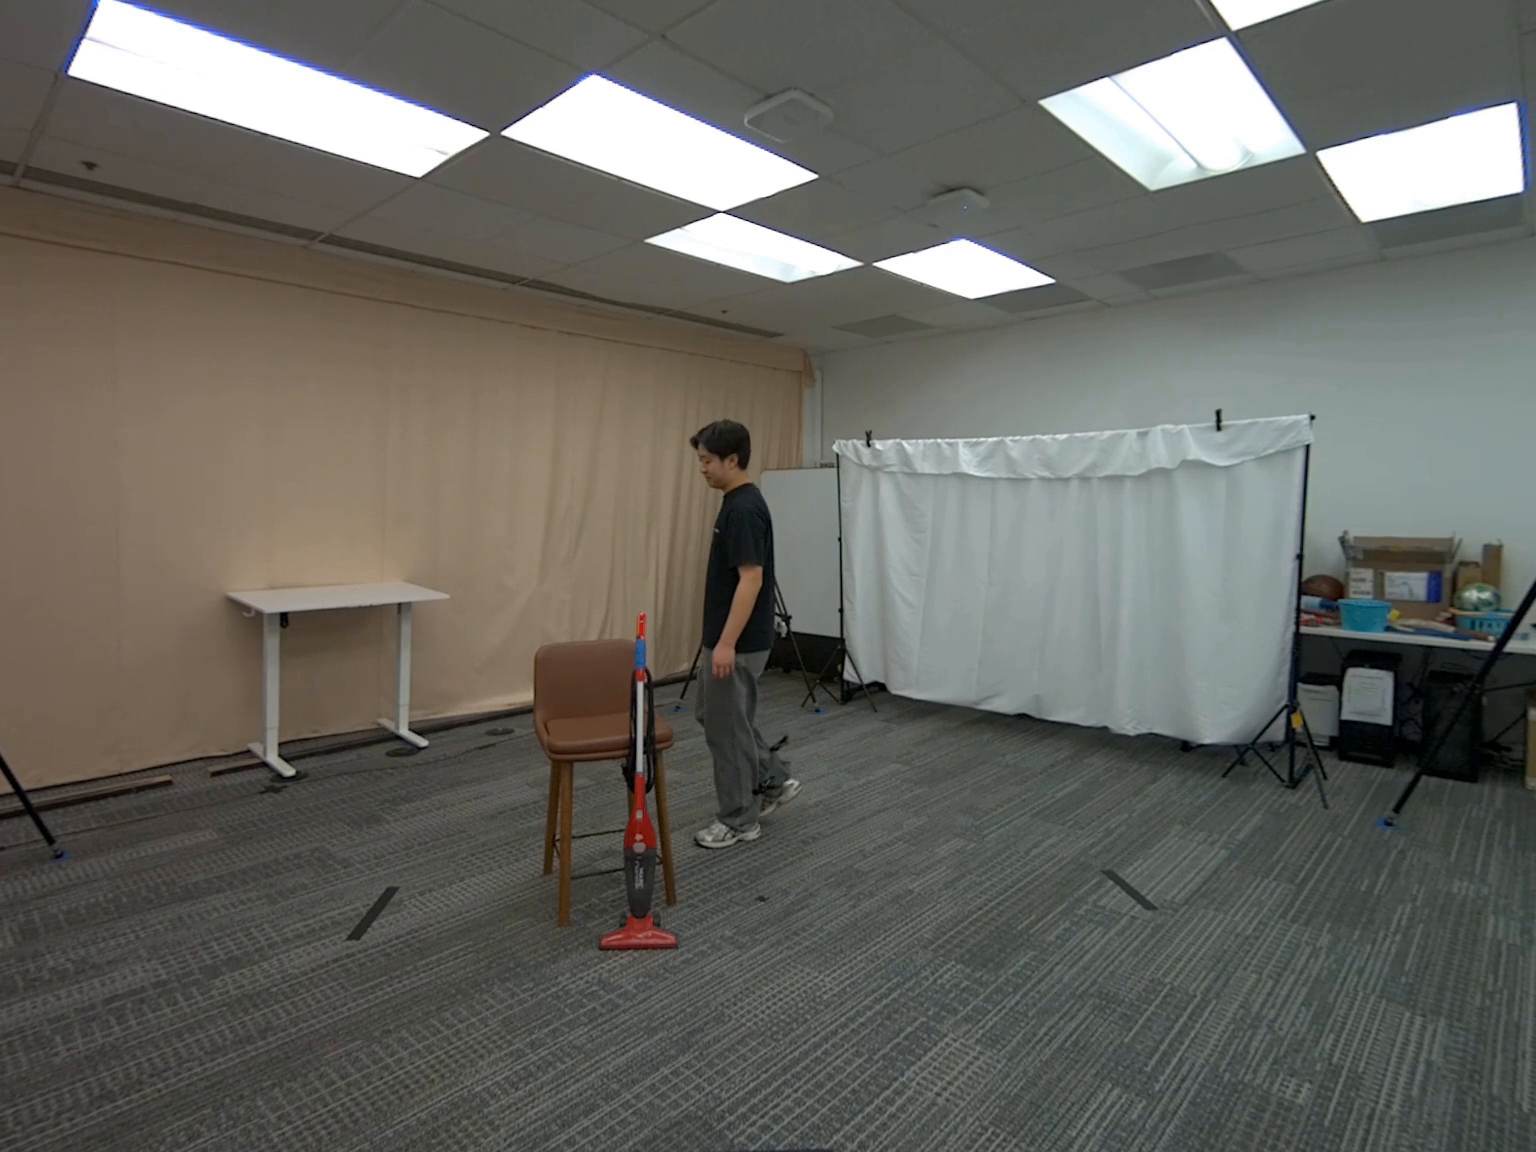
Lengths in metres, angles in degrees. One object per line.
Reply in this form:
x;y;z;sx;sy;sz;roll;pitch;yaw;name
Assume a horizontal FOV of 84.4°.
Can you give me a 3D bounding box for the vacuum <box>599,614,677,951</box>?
-0.423;0.652;2.829;0.252;1.058;0.143;-1;-13;-1;vacuum
